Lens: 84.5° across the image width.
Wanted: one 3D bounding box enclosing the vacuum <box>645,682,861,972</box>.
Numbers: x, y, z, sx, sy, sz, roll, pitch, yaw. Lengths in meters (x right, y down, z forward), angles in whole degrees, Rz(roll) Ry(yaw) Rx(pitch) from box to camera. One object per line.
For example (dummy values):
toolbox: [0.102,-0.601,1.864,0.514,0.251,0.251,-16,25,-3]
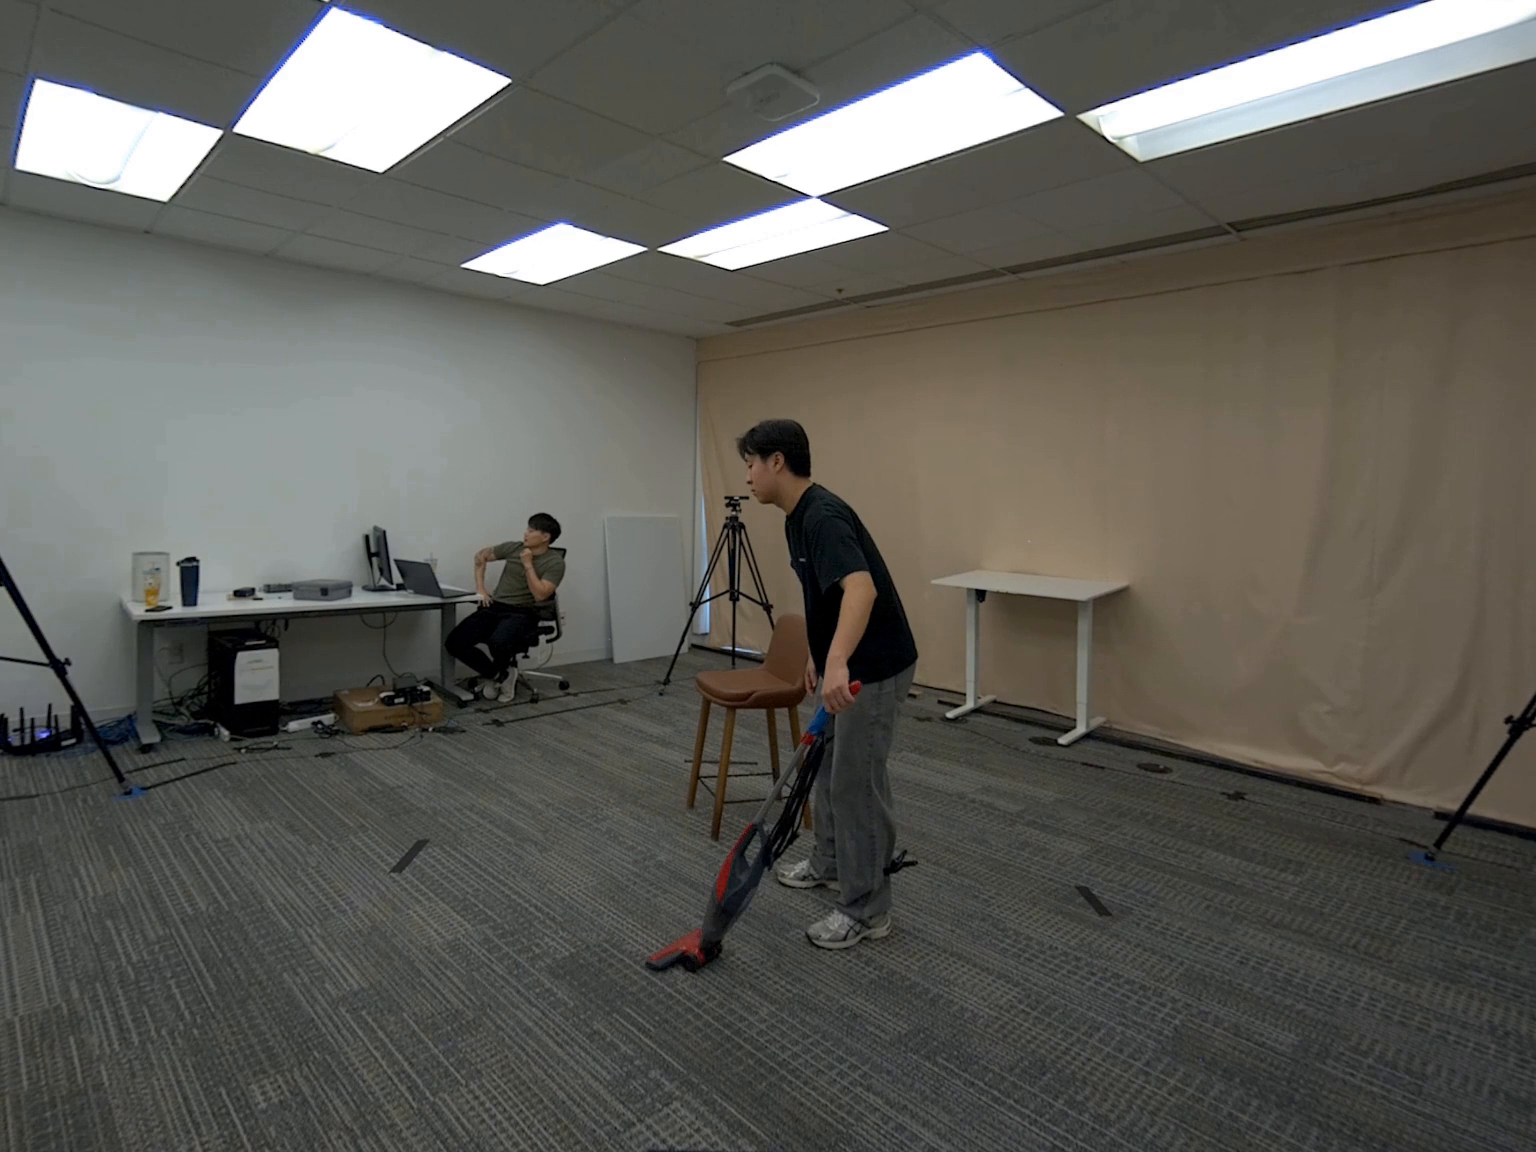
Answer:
vacuum: [-0.016,0.728,2.350,0.148,1.044,0.247,42,24,29]
